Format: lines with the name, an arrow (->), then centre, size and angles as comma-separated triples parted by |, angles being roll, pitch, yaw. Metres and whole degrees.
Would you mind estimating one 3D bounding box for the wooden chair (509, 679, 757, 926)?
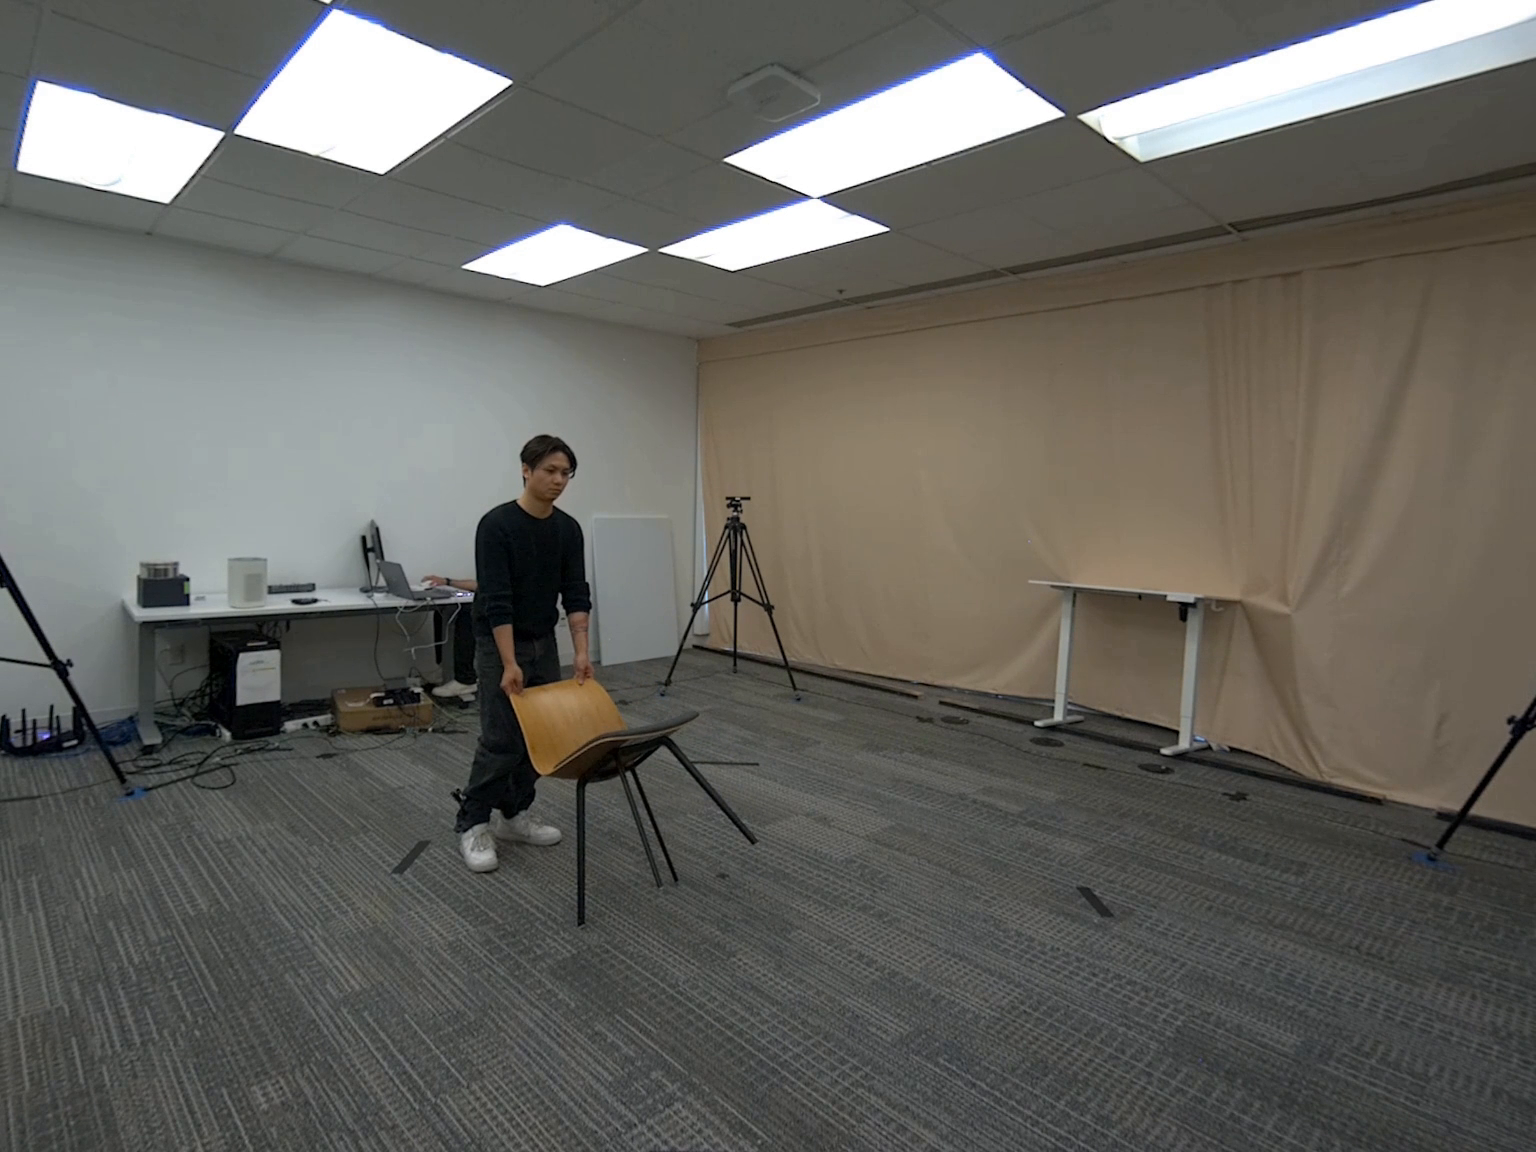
wooden chair -> -0.490, 0.636, 2.868 | 0.467, 0.896, 0.524 | -3, -33, -49
